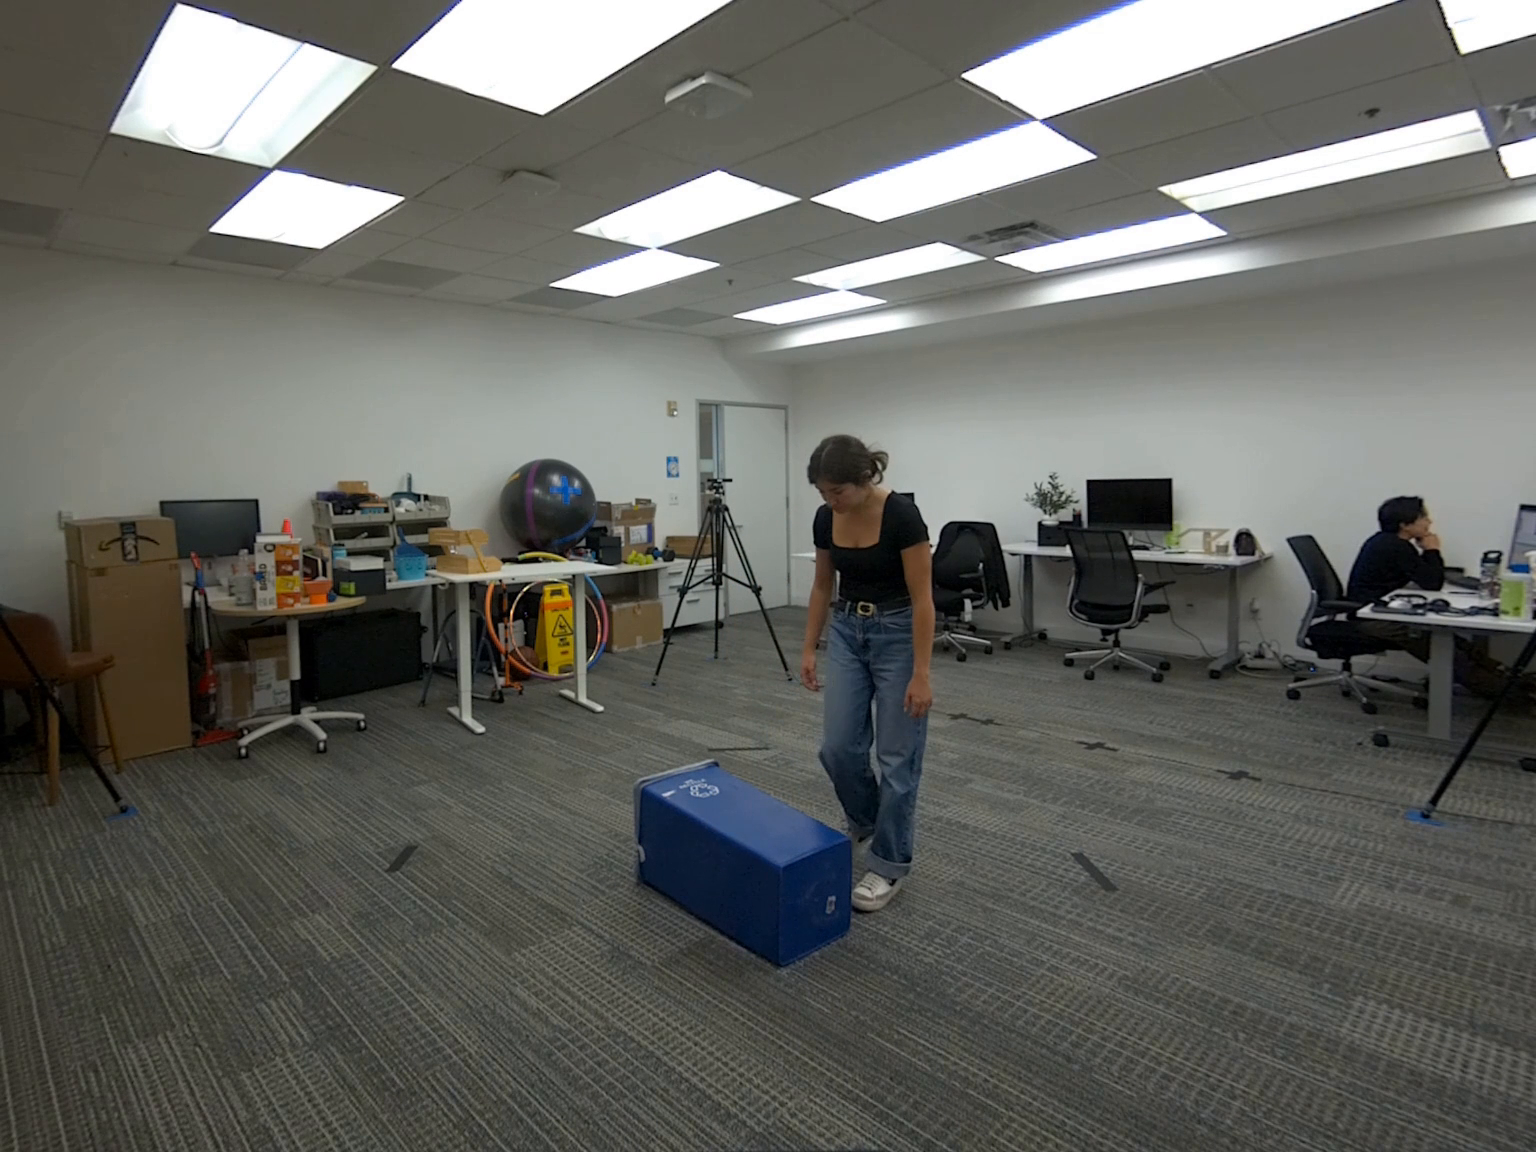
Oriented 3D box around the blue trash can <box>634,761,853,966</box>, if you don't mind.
[{"bbox_3d":[-0.085,0.914,2.789,0.364,0.376,0.737,-4,10,-41],"label":"blue trash can"}]
